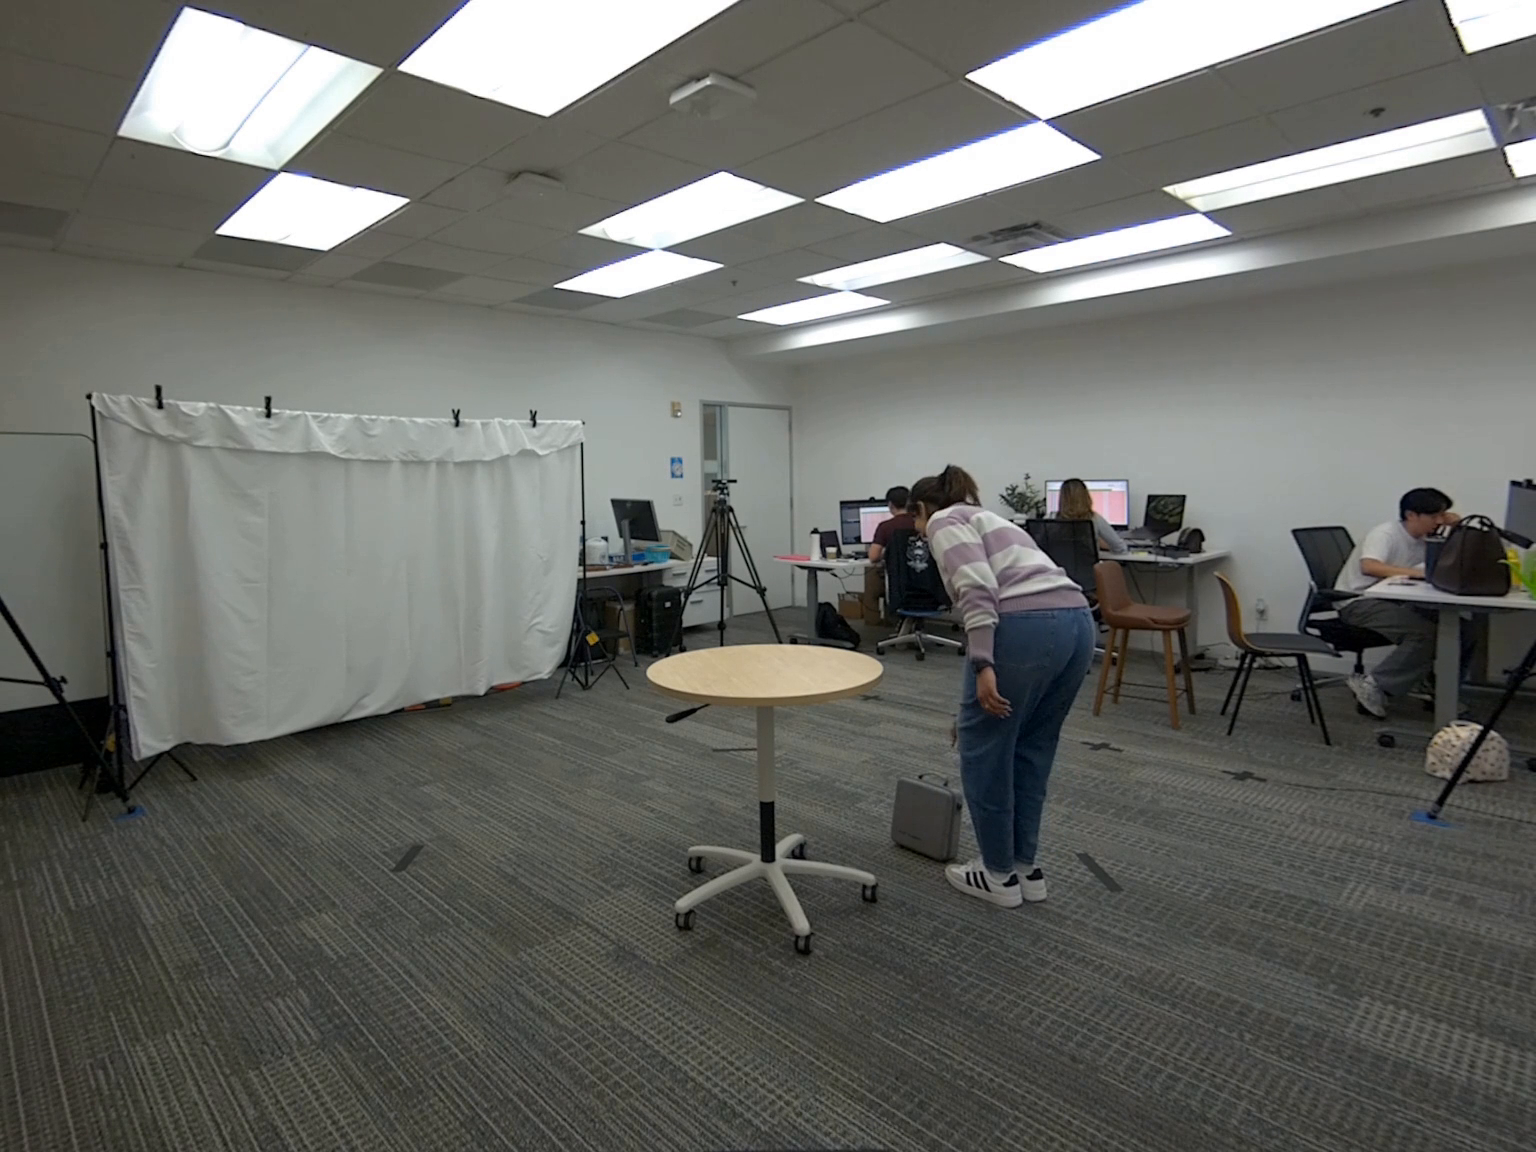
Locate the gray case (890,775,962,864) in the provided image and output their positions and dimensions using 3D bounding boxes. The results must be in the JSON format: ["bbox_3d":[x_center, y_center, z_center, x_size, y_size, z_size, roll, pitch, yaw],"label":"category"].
[{"bbox_3d":[0.597,0.895,3.191,0.101,0.261,0.265,9,-2,-40],"label":"gray case"}]
